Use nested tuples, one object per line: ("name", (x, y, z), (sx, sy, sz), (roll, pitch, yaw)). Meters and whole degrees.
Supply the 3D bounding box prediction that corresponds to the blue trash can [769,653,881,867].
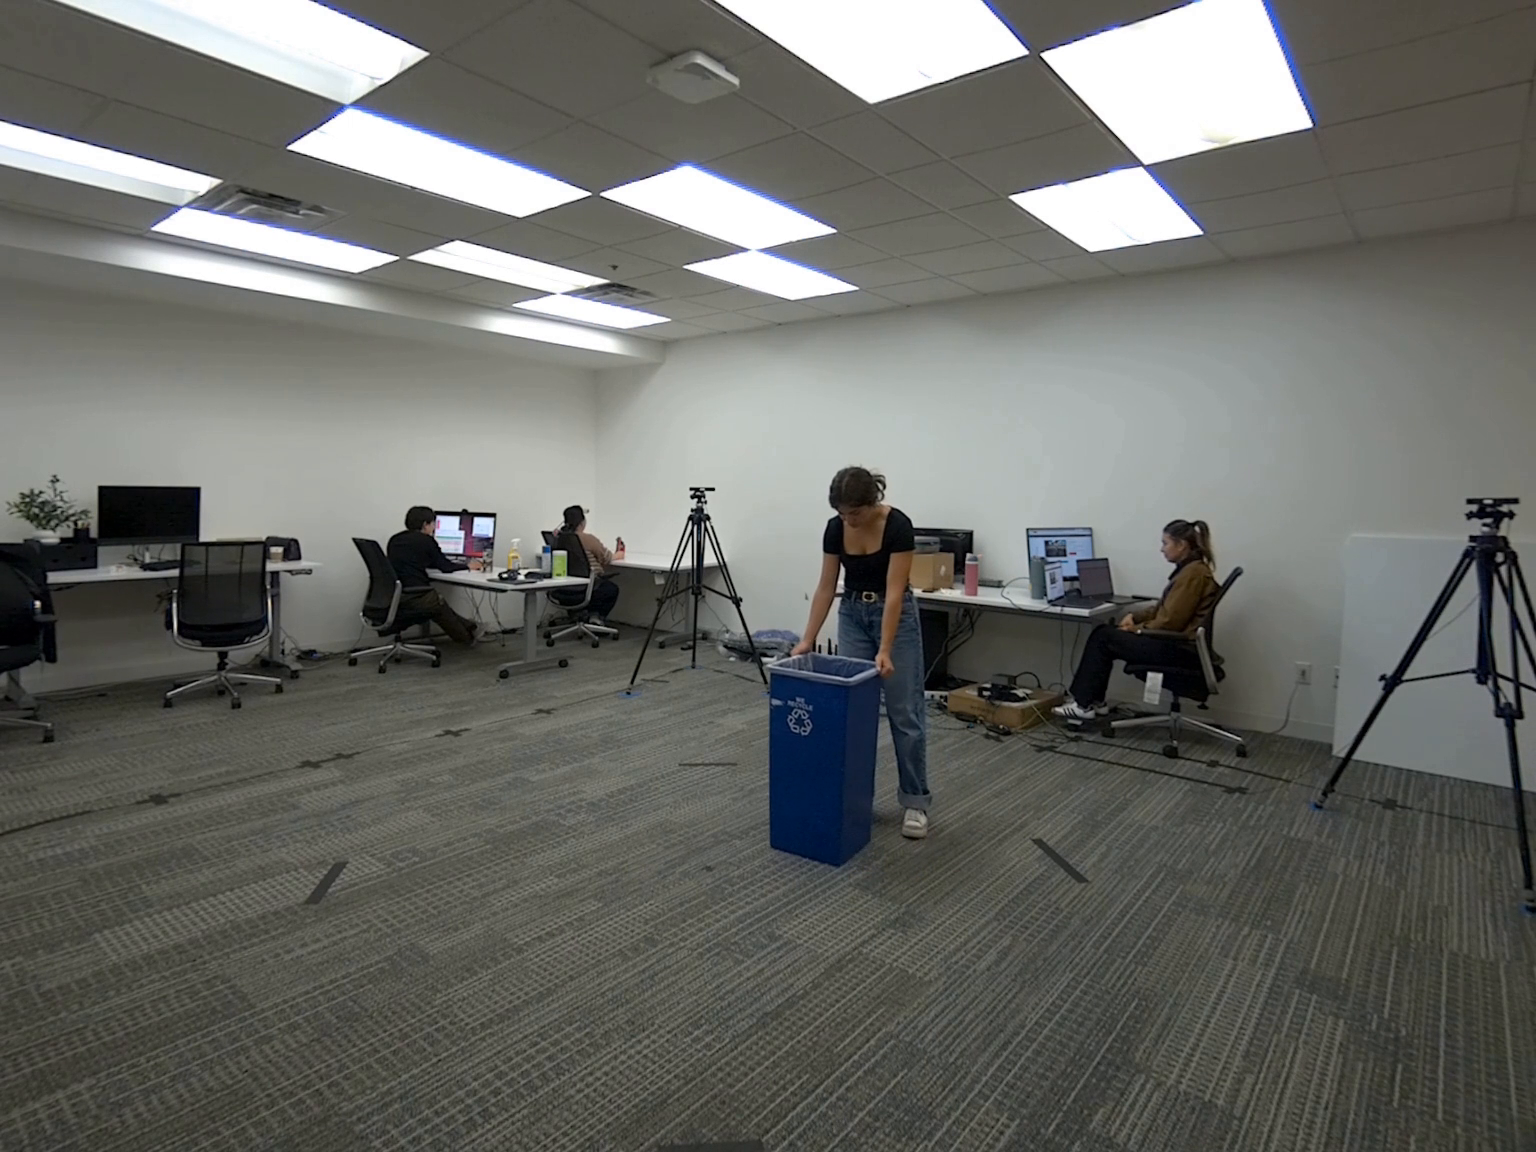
("blue trash can", (0.217, 0.696, 3.326), (0.385, 0.711, 0.368), (3, 4, 32))
